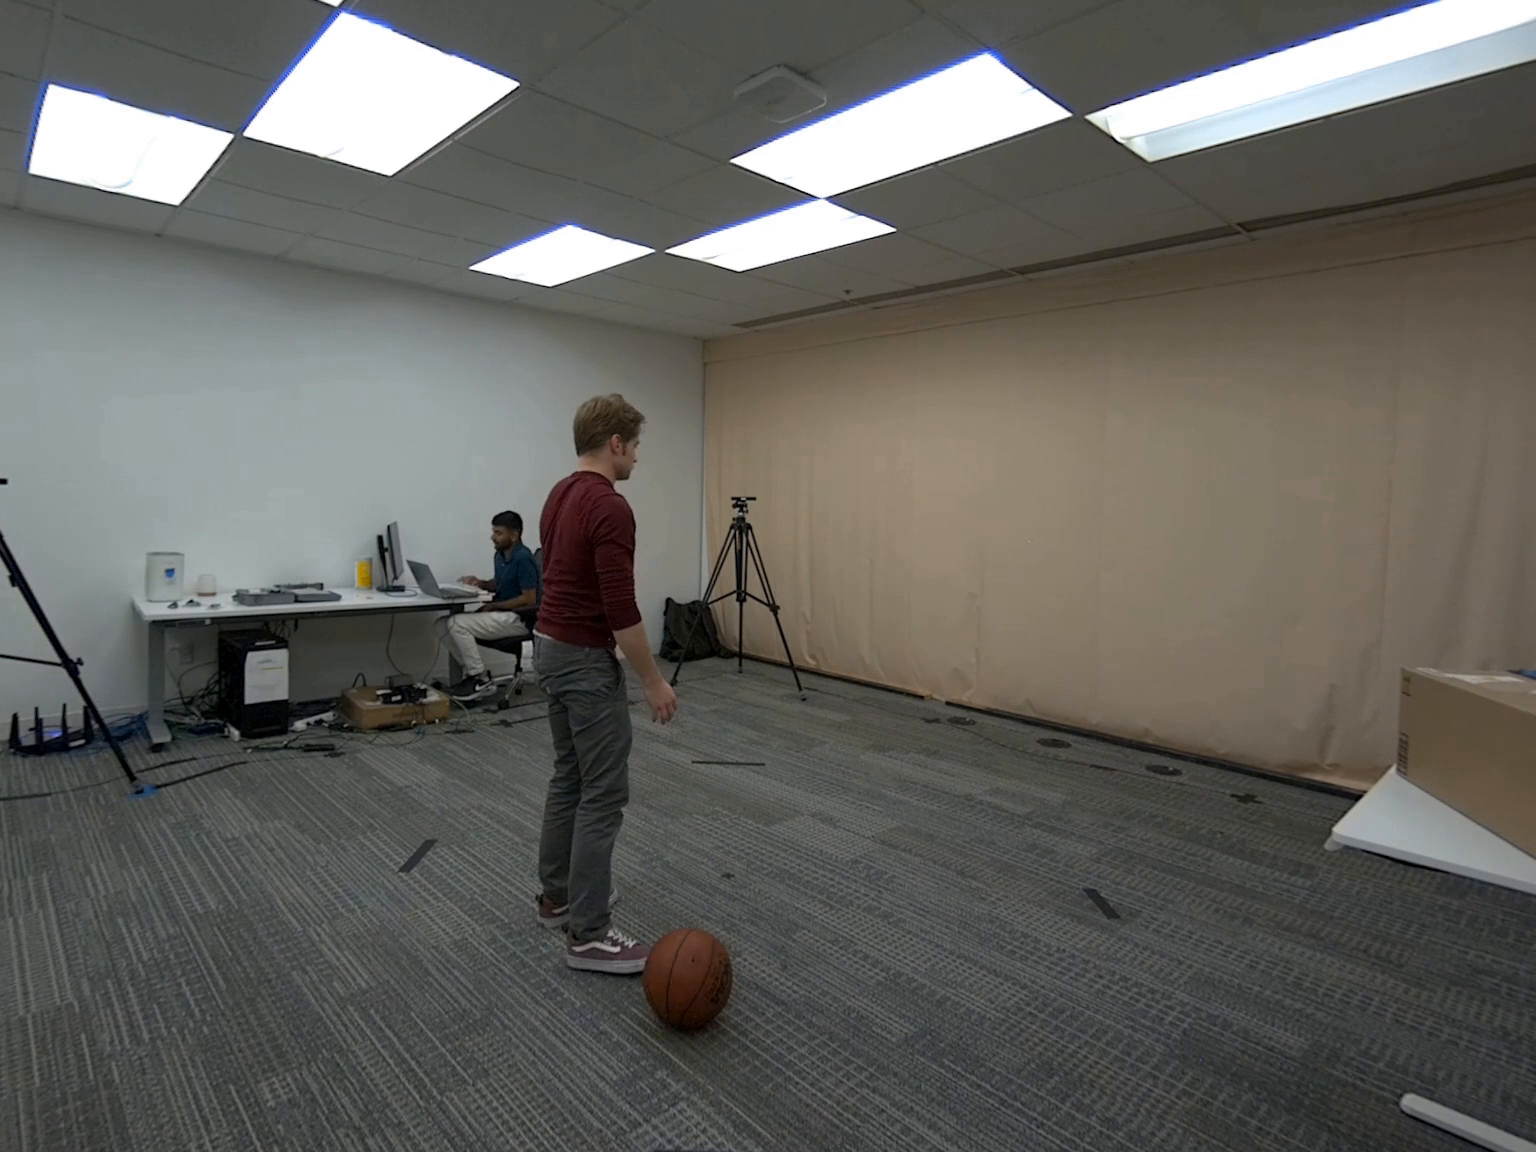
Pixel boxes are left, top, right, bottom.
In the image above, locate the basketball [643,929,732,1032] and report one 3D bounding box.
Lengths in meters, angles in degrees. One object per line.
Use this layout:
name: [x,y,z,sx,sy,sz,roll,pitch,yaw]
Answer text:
basketball: [-0.214,1.068,2.228,0.236,0.235,0.237,1,4,-1]
